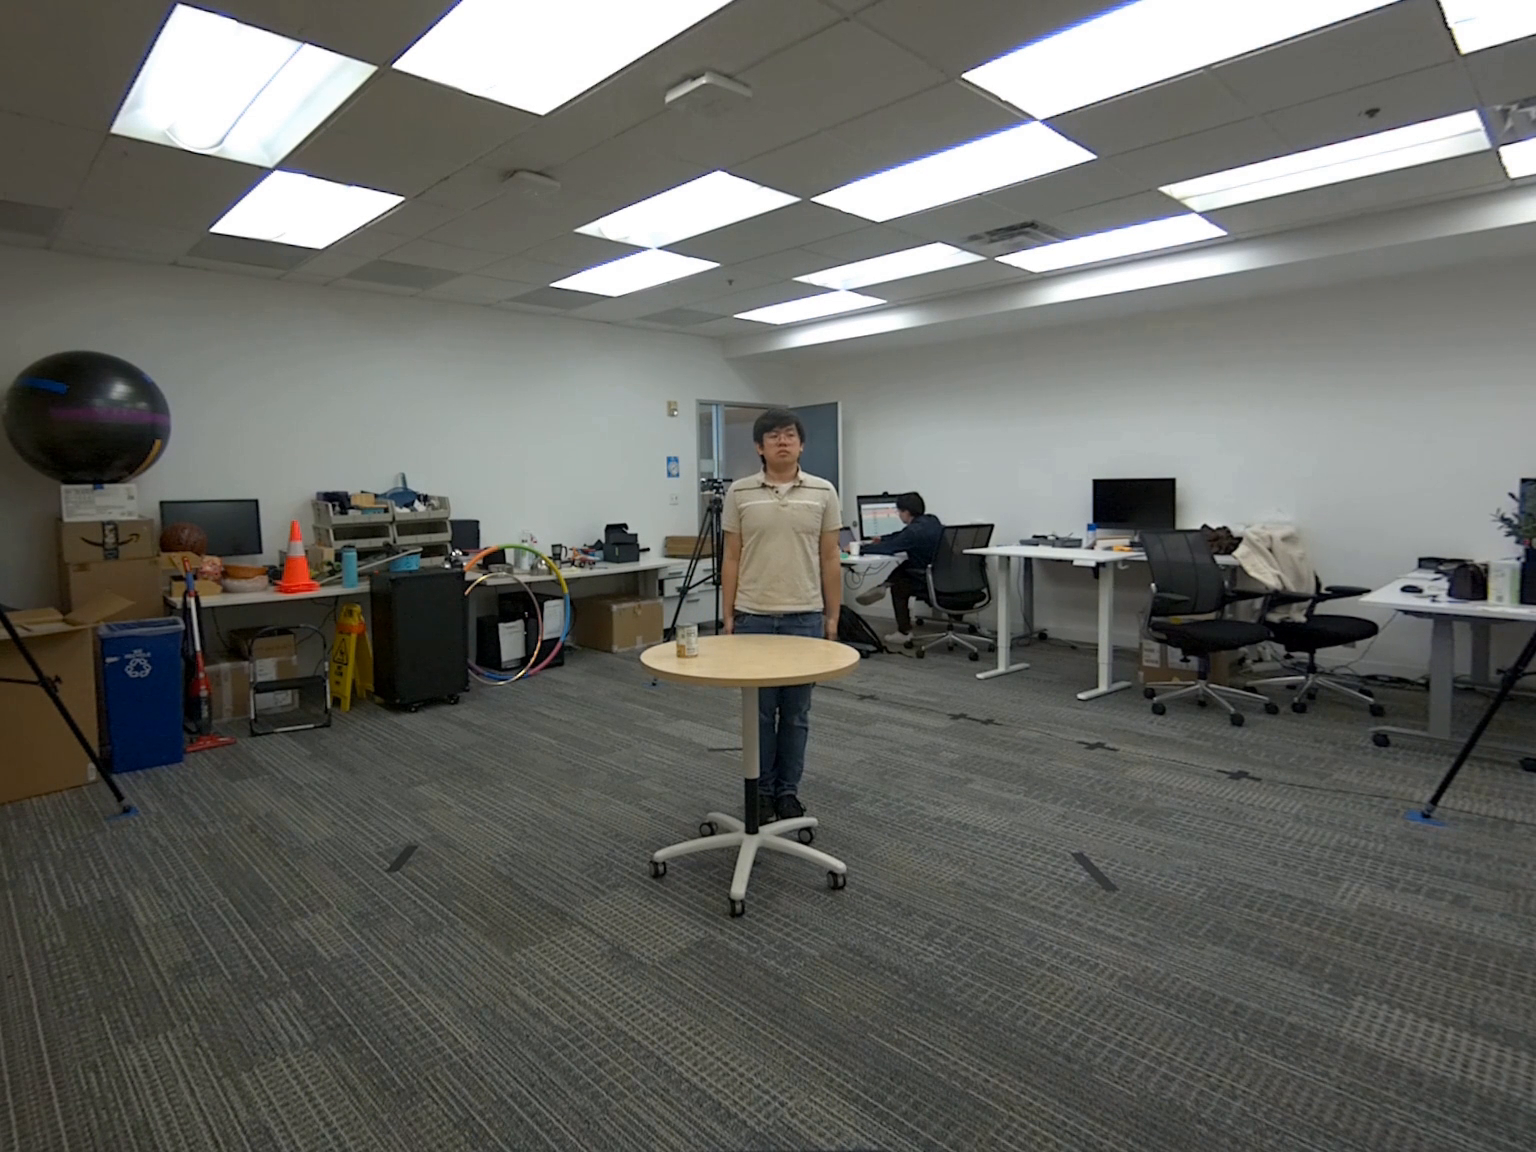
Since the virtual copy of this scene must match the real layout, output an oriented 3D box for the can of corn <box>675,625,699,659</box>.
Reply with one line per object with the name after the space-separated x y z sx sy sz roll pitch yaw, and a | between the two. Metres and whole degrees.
-0.280 0.222 2.978 0.074 0.111 0.074 0 4 -2 | can of corn
